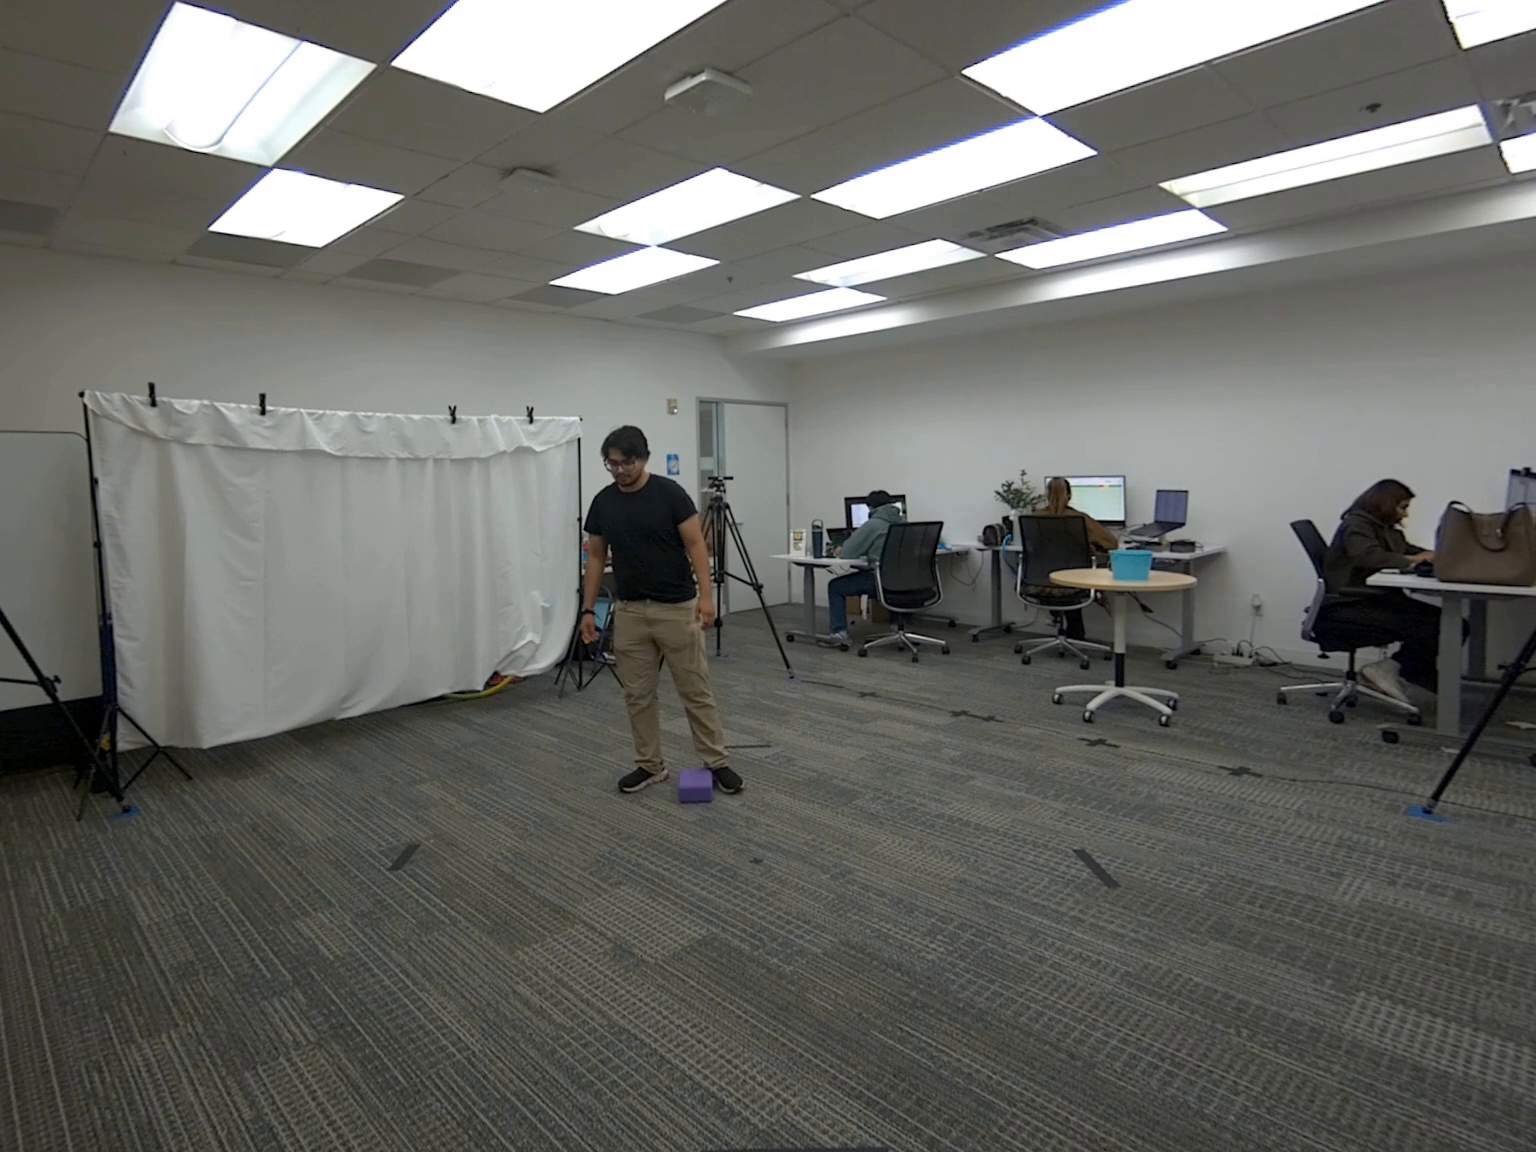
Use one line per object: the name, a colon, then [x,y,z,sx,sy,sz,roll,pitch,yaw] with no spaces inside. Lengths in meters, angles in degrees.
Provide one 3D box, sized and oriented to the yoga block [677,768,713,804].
yoga block: [-0.318,0.927,3.789,0.149,0.076,0.231,-2,6,-3]
